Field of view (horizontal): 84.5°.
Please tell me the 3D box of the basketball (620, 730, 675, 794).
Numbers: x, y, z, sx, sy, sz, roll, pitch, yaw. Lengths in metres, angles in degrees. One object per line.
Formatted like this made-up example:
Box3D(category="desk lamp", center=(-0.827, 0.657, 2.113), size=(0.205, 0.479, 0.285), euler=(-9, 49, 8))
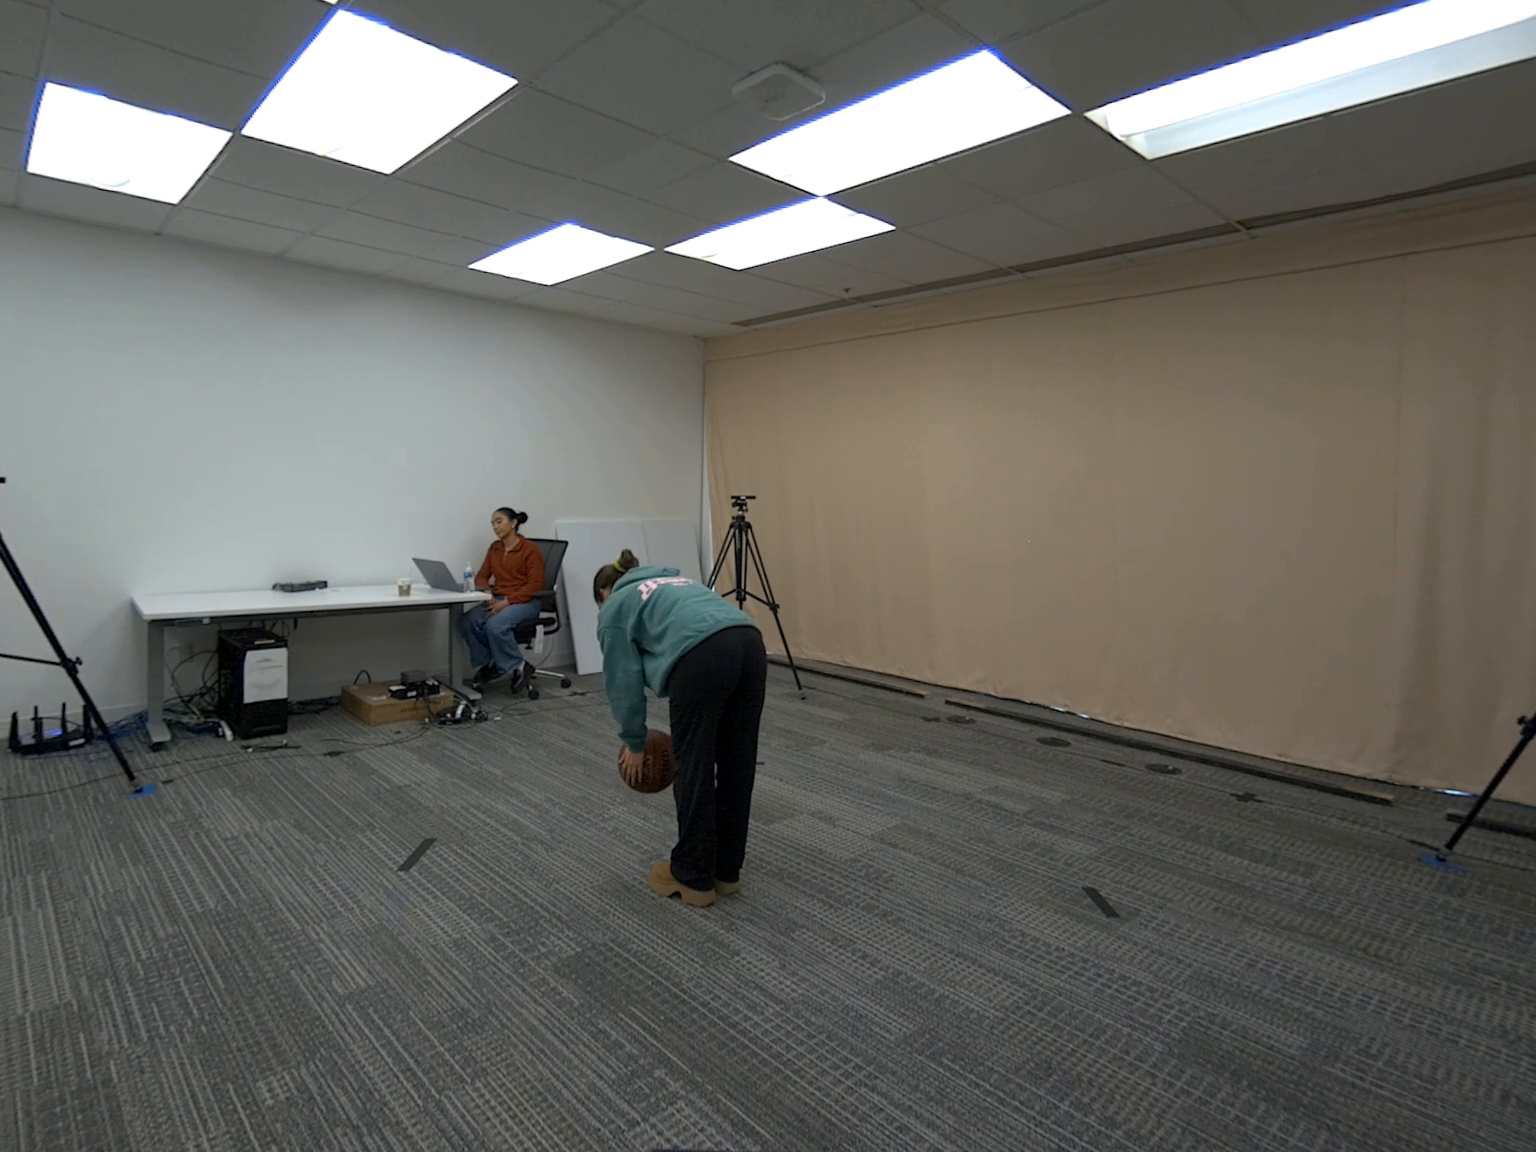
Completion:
Box3D(category="basketball", center=(-0.449, 0.692, 3.165), size=(0.236, 0.235, 0.237), euler=(1, 4, -1))
